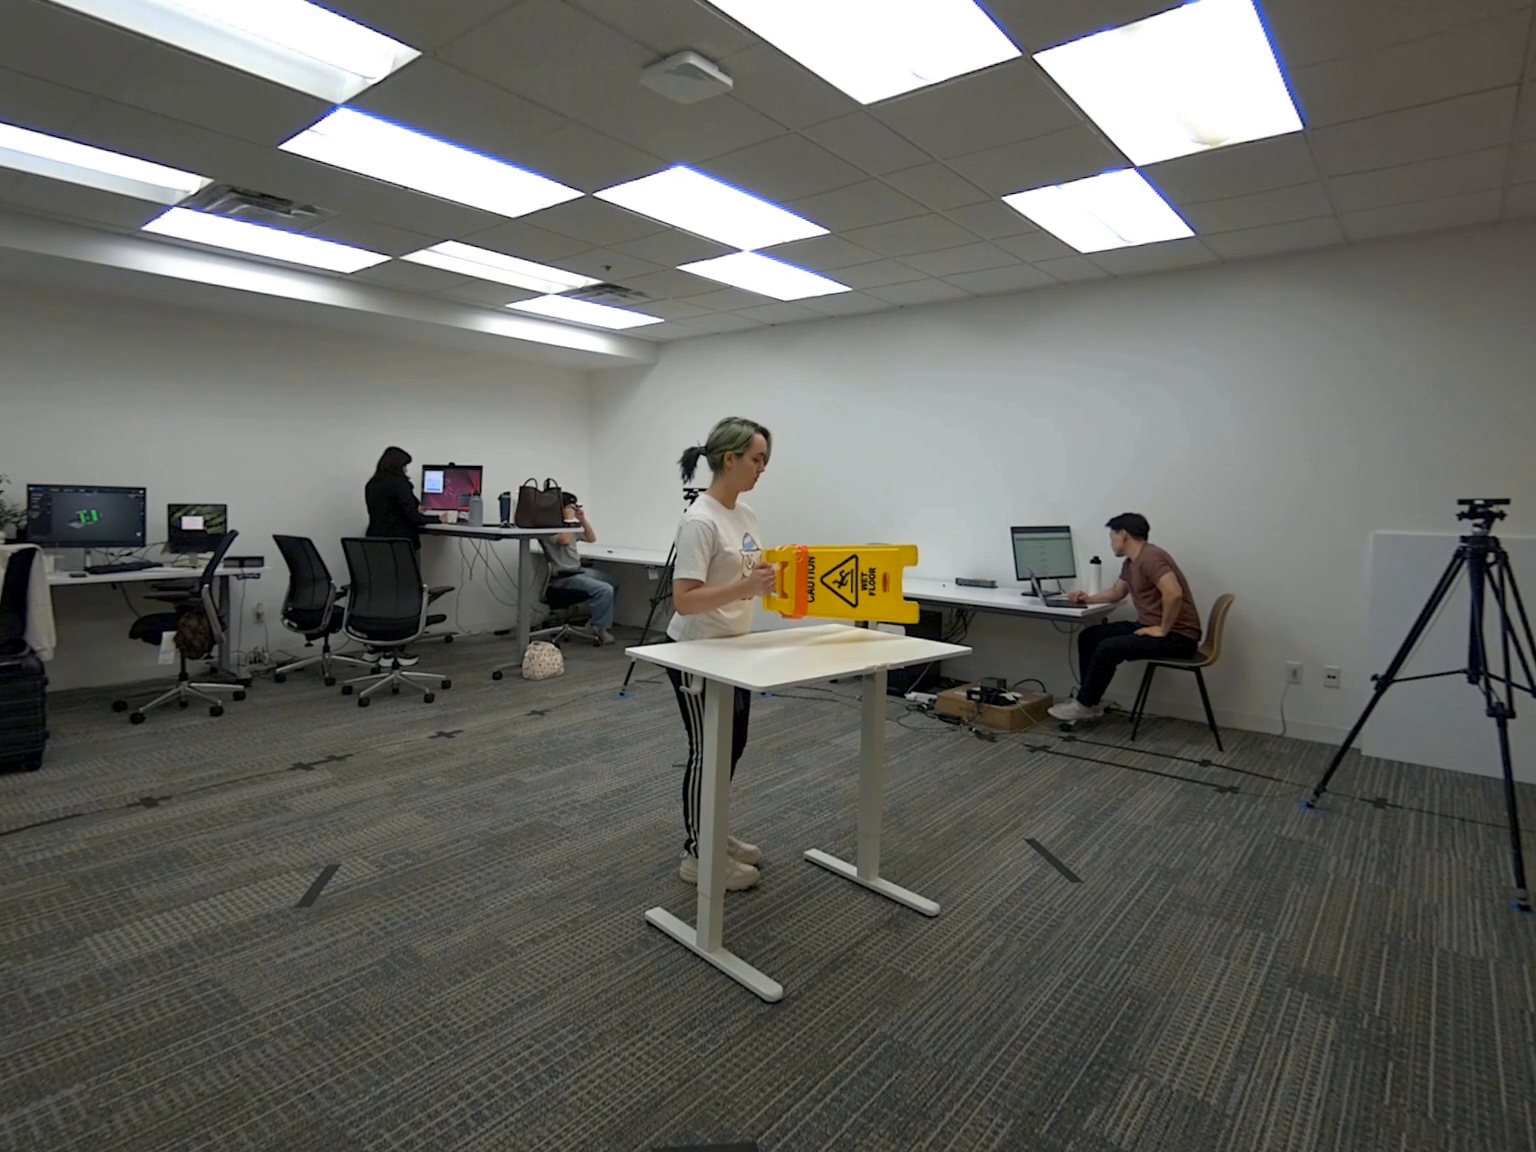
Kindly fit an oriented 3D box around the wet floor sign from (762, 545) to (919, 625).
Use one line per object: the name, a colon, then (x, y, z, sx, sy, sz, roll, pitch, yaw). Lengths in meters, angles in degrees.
wet floor sign: (0.205, 0.023, 2.900, 0.625, 0.283, 0.298, 2, -2, -43)
